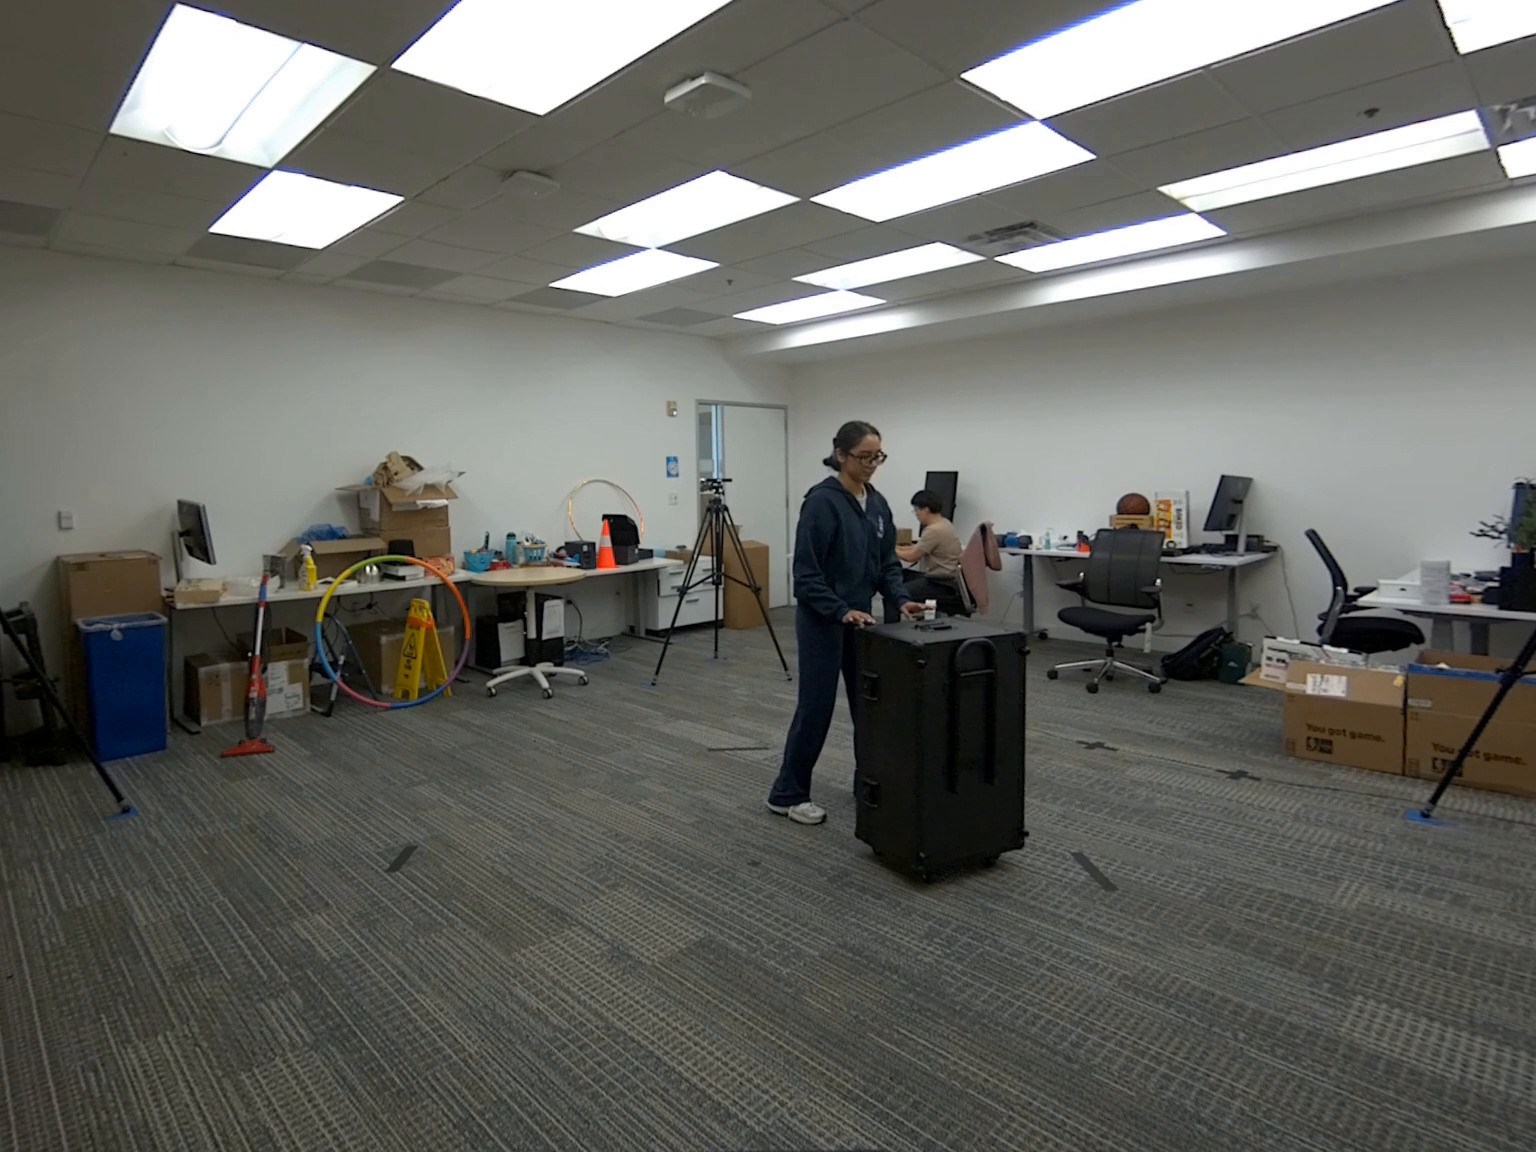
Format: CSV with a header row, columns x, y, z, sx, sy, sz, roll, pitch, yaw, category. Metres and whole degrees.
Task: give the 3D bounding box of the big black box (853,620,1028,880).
x,y,z,sx,sy,sz,roll,pitch,yaw,category
0.622,0.608,3.067,0.510,0.858,0.407,-3,5,-27,big black box
